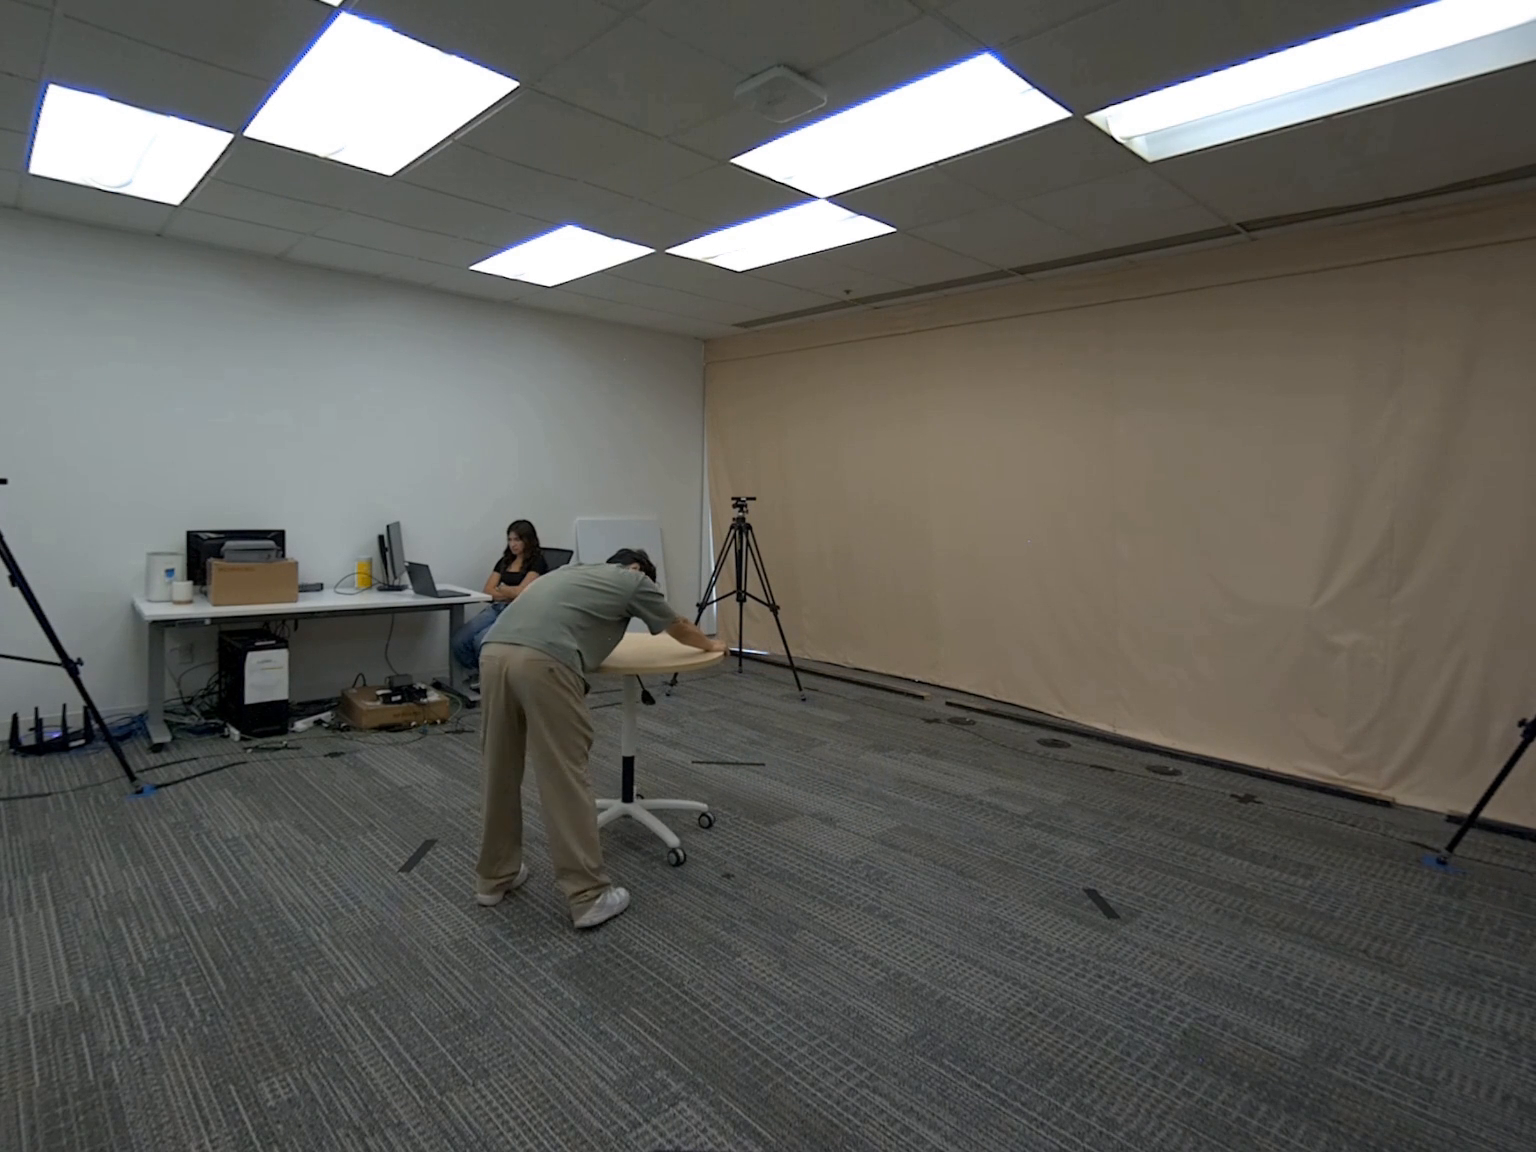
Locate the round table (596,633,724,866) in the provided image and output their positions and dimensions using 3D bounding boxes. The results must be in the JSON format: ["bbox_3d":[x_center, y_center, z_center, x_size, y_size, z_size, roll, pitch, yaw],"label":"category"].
[{"bbox_3d":[-0.580,0.680,3.451,0.784,0.784,0.788,1,4,-1],"label":"round table"}]
